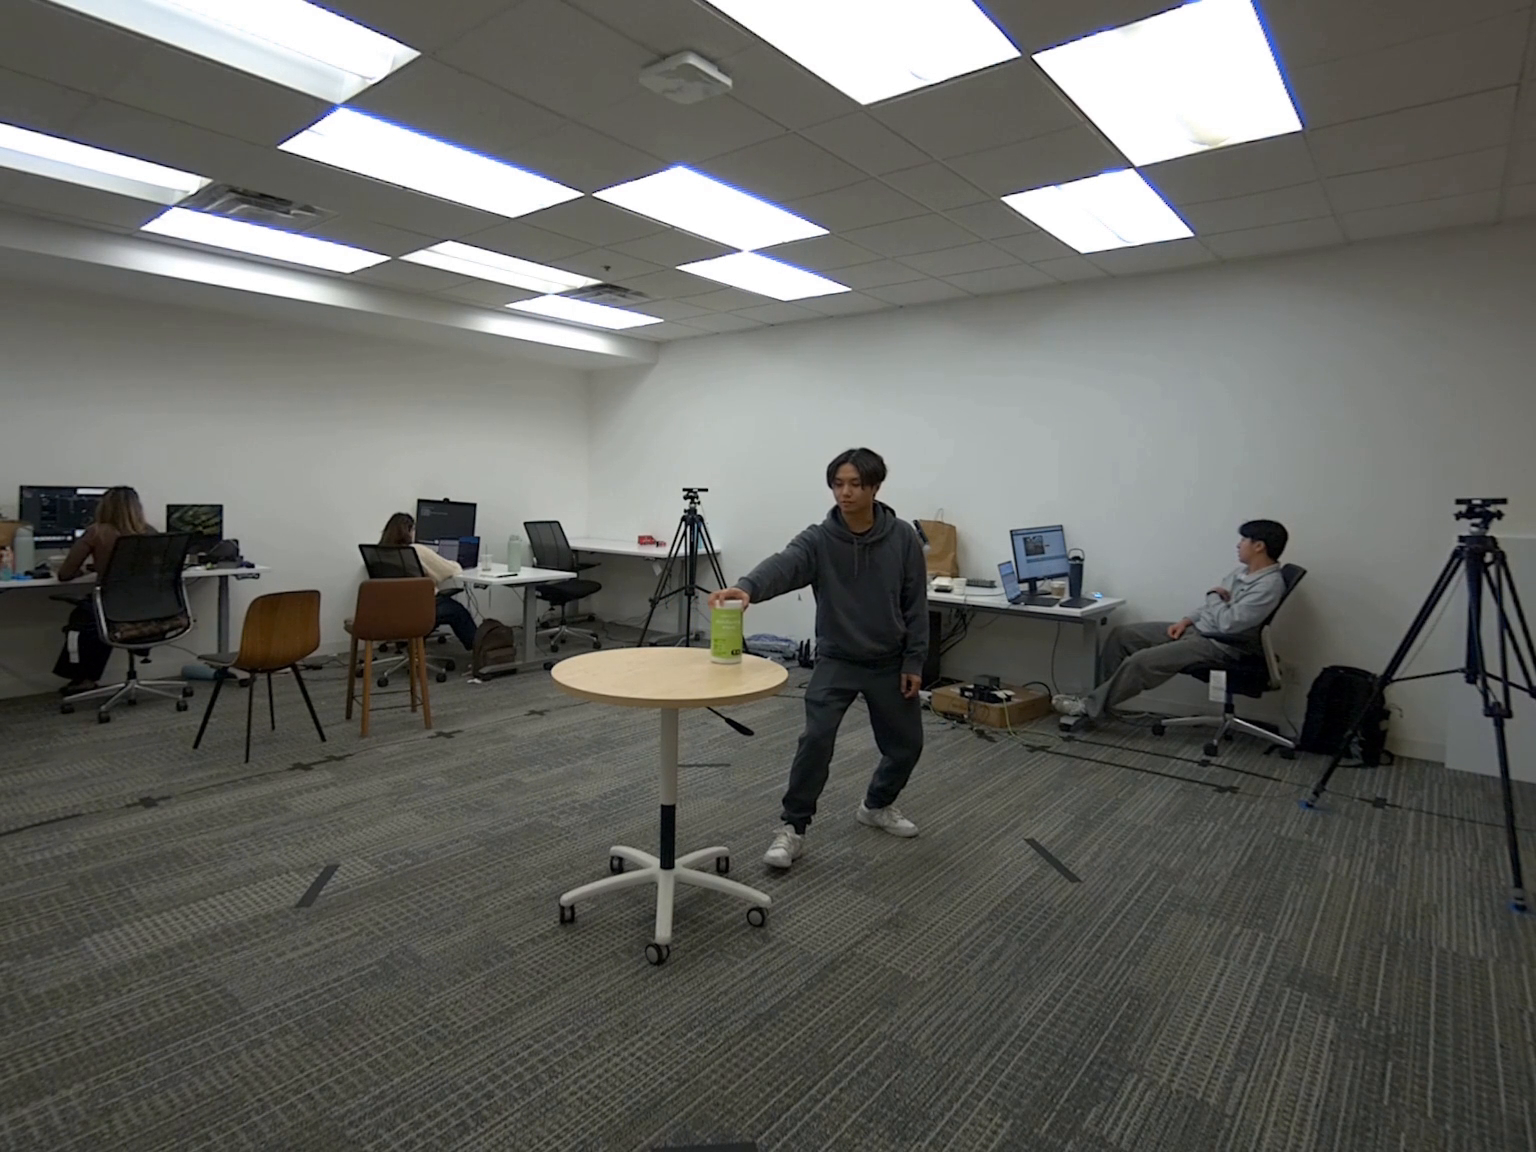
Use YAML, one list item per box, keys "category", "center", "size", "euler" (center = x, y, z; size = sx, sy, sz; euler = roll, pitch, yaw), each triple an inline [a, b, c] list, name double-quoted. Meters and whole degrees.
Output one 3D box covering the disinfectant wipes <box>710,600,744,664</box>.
- category: "disinfectant wipes"
  center: [-0.154, 0.185, 2.923]
  size: [0.117, 0.217, 0.118]
  euler: [2, 3, -2]
